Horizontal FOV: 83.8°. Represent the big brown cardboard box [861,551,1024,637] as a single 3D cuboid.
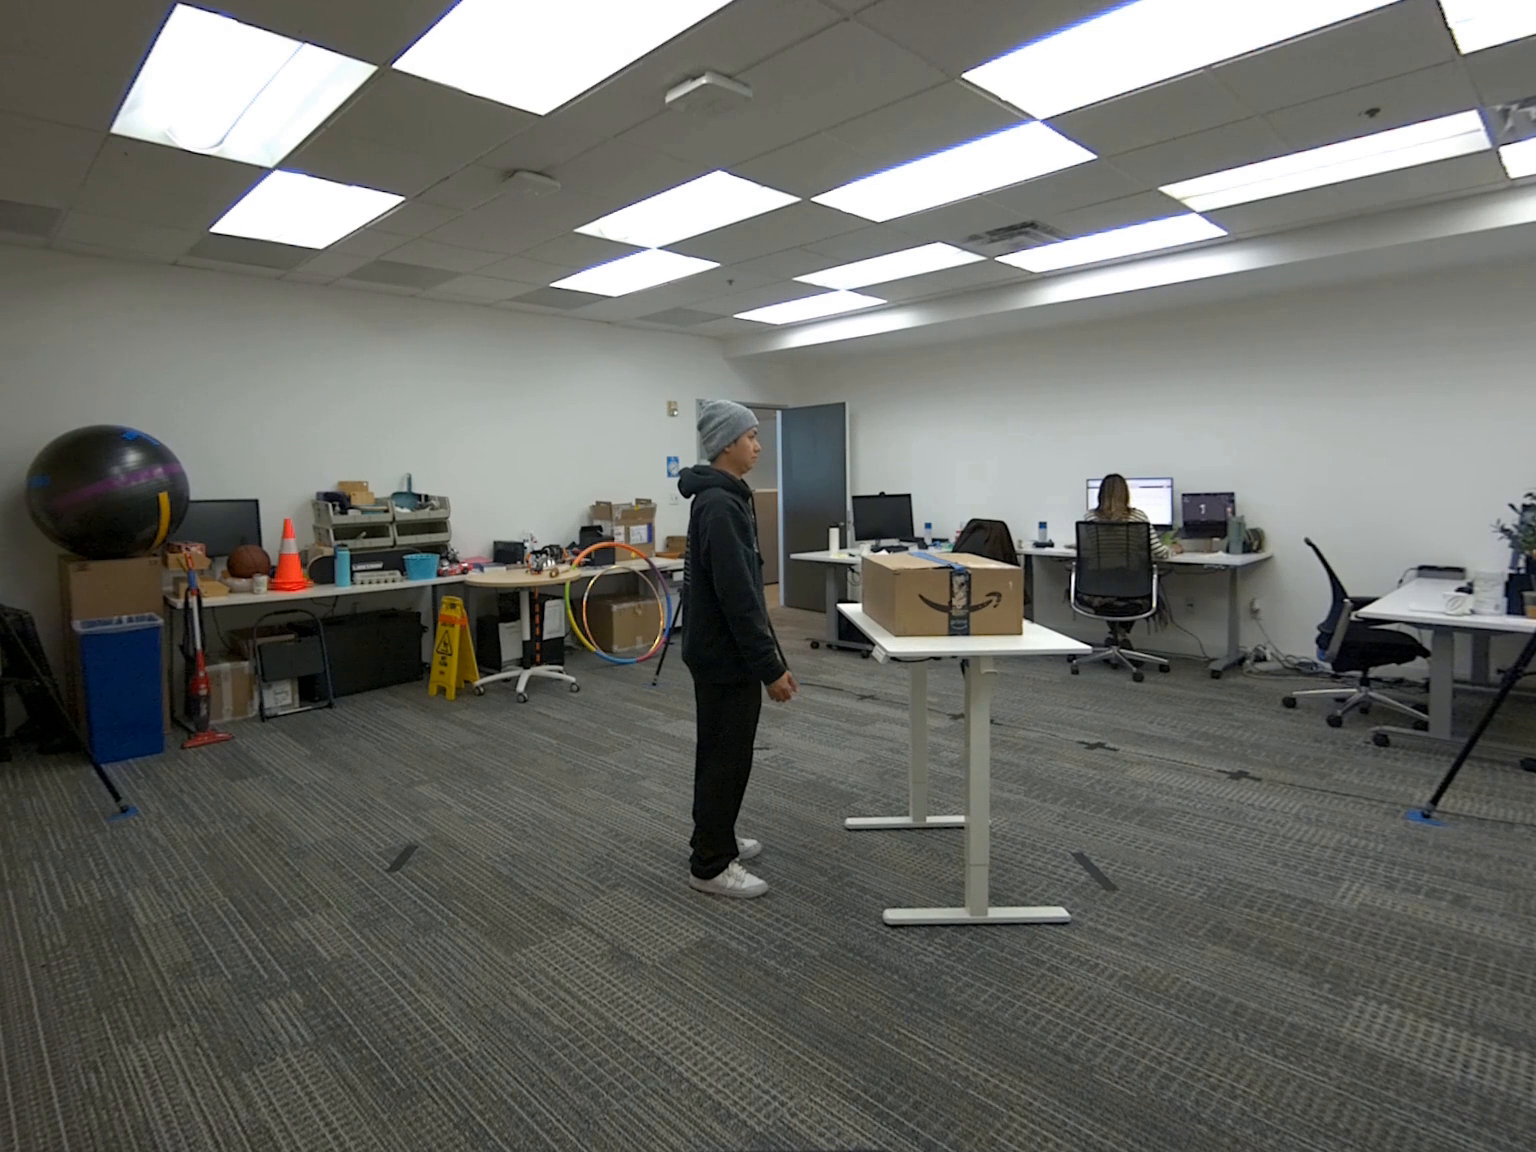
[{"bbox_3d":[0.579,0.056,2.989,0.416,0.232,0.592,-1,5,-4],"label":"big brown cardboard box"}]
